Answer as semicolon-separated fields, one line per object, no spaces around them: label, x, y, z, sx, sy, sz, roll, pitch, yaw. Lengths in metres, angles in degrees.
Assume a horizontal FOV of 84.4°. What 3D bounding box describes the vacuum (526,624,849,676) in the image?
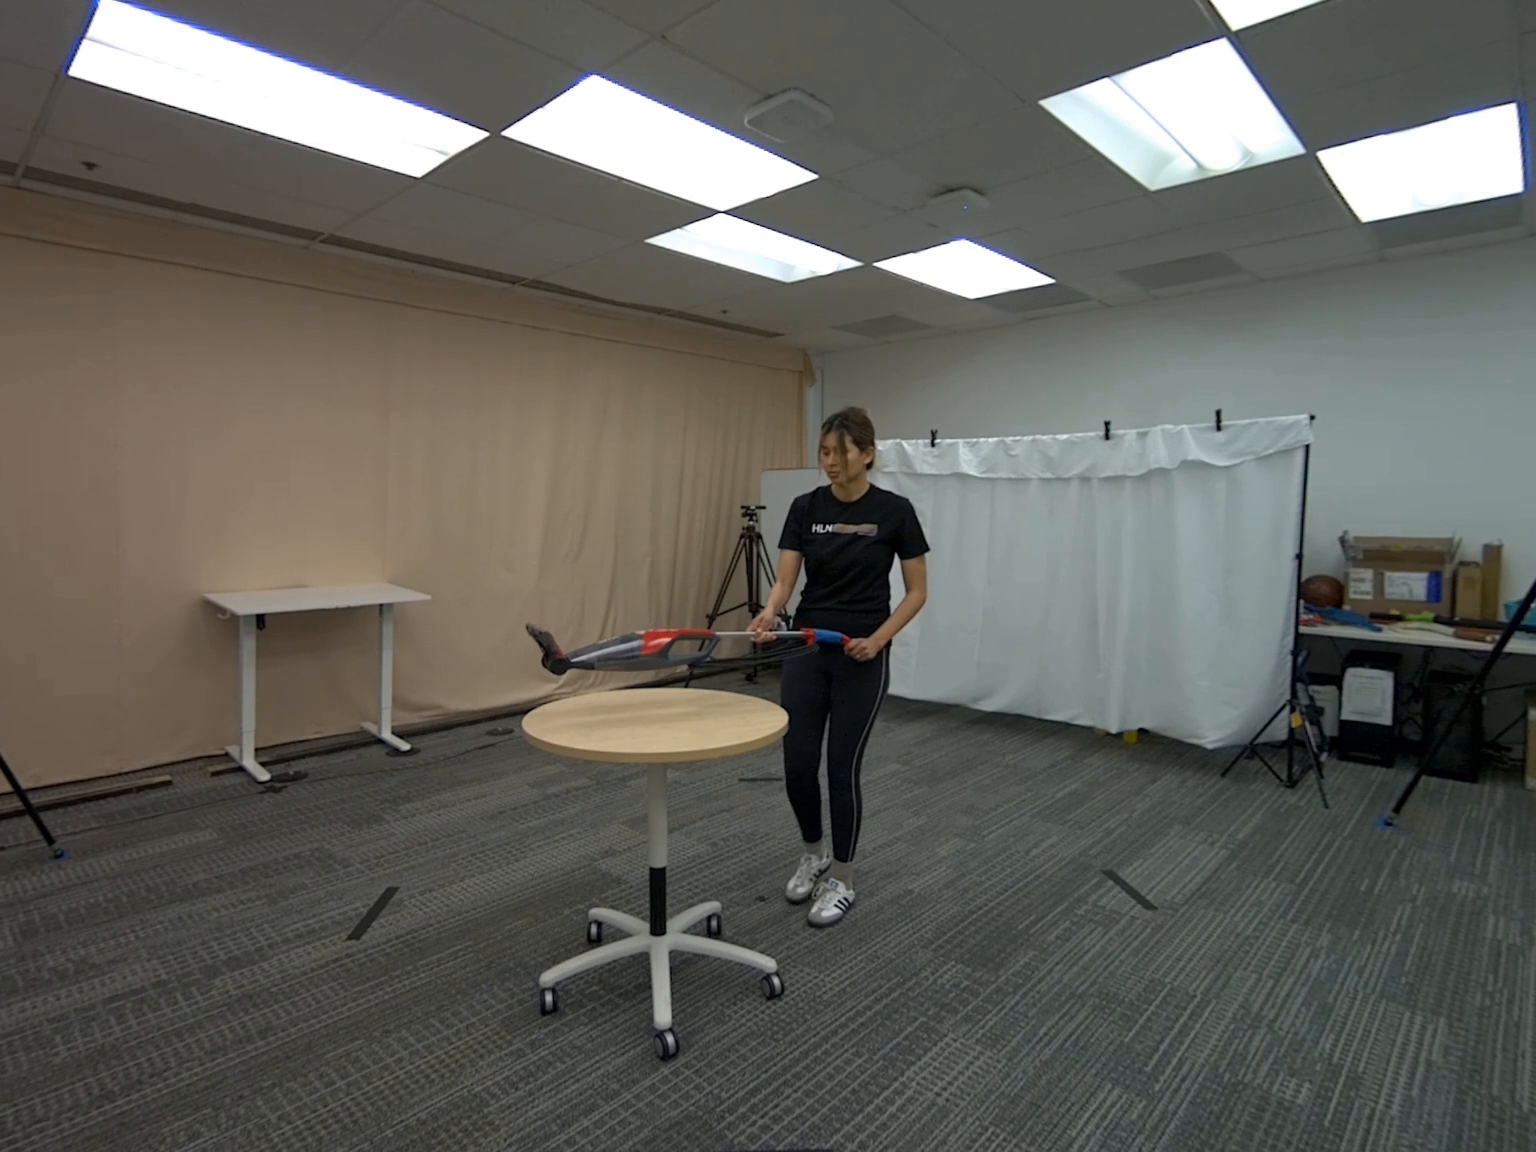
vacuum;-0.177;0.233;2.545;1.025;0.144;0.258;2;1;-22
